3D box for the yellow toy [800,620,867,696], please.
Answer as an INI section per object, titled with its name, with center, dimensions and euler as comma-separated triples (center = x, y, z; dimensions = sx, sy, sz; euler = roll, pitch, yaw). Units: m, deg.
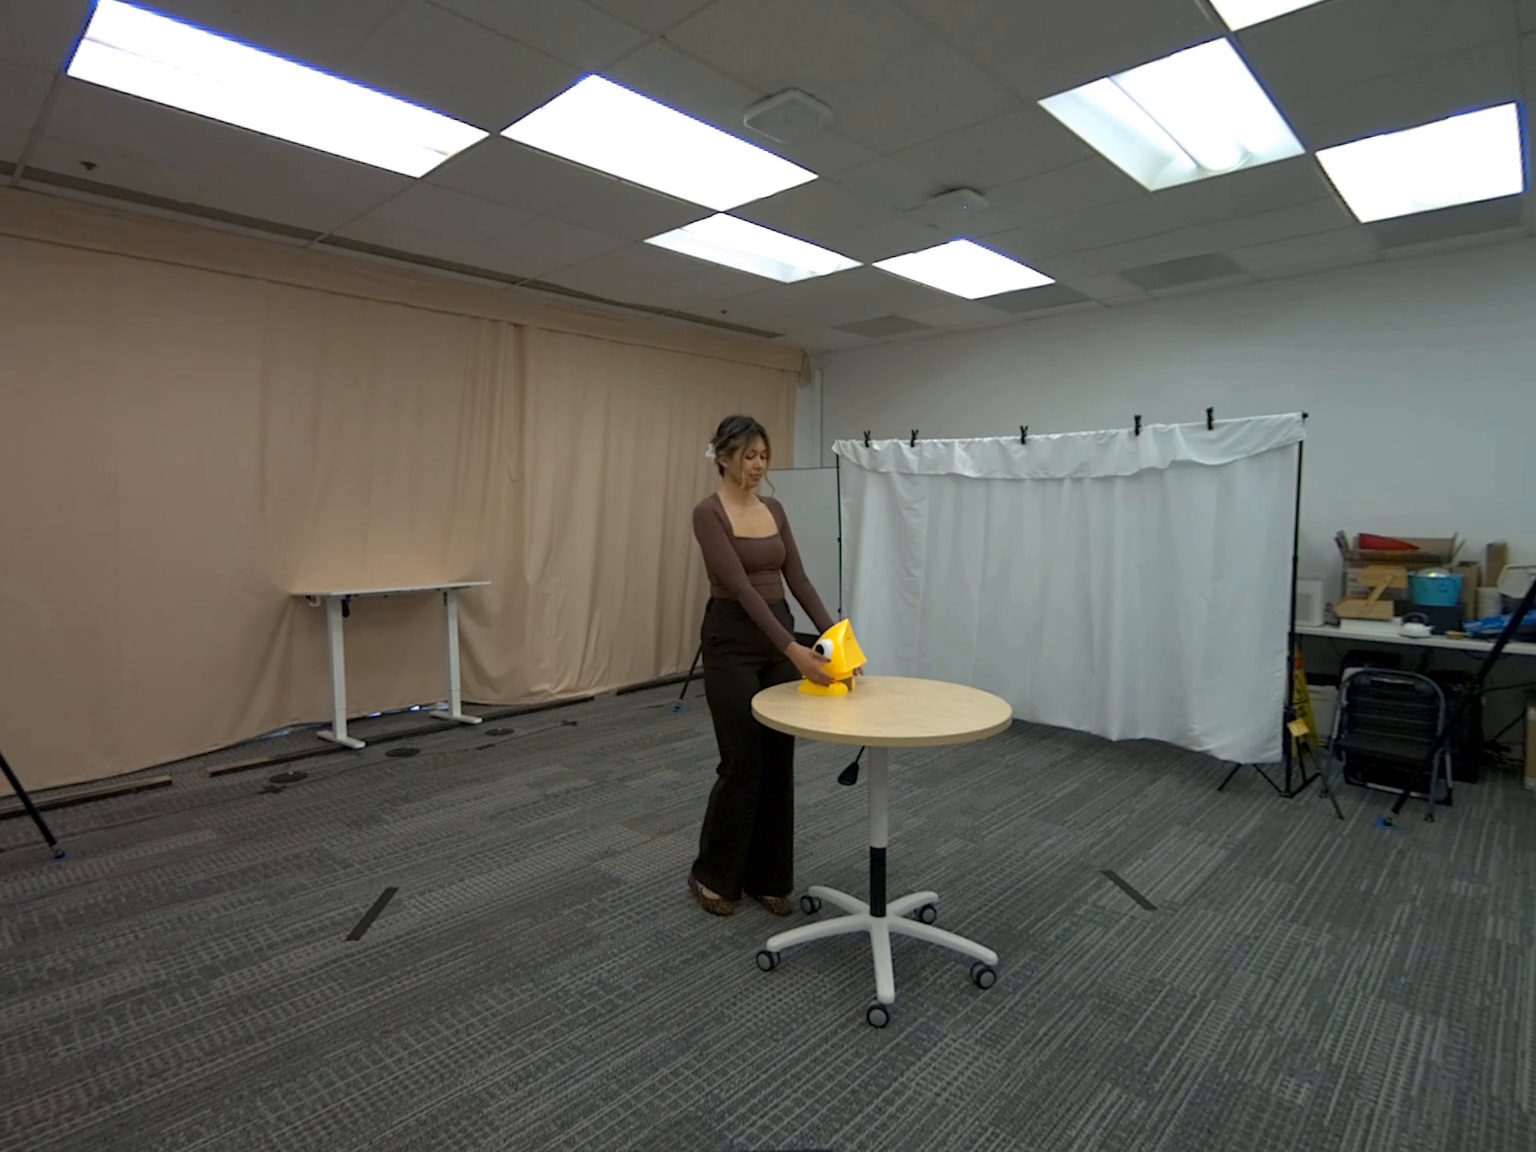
[yellow toy]
center = 0.207, 0.252, 2.737
dimensions = 0.198, 0.230, 0.200
euler = 0, 1, 25
